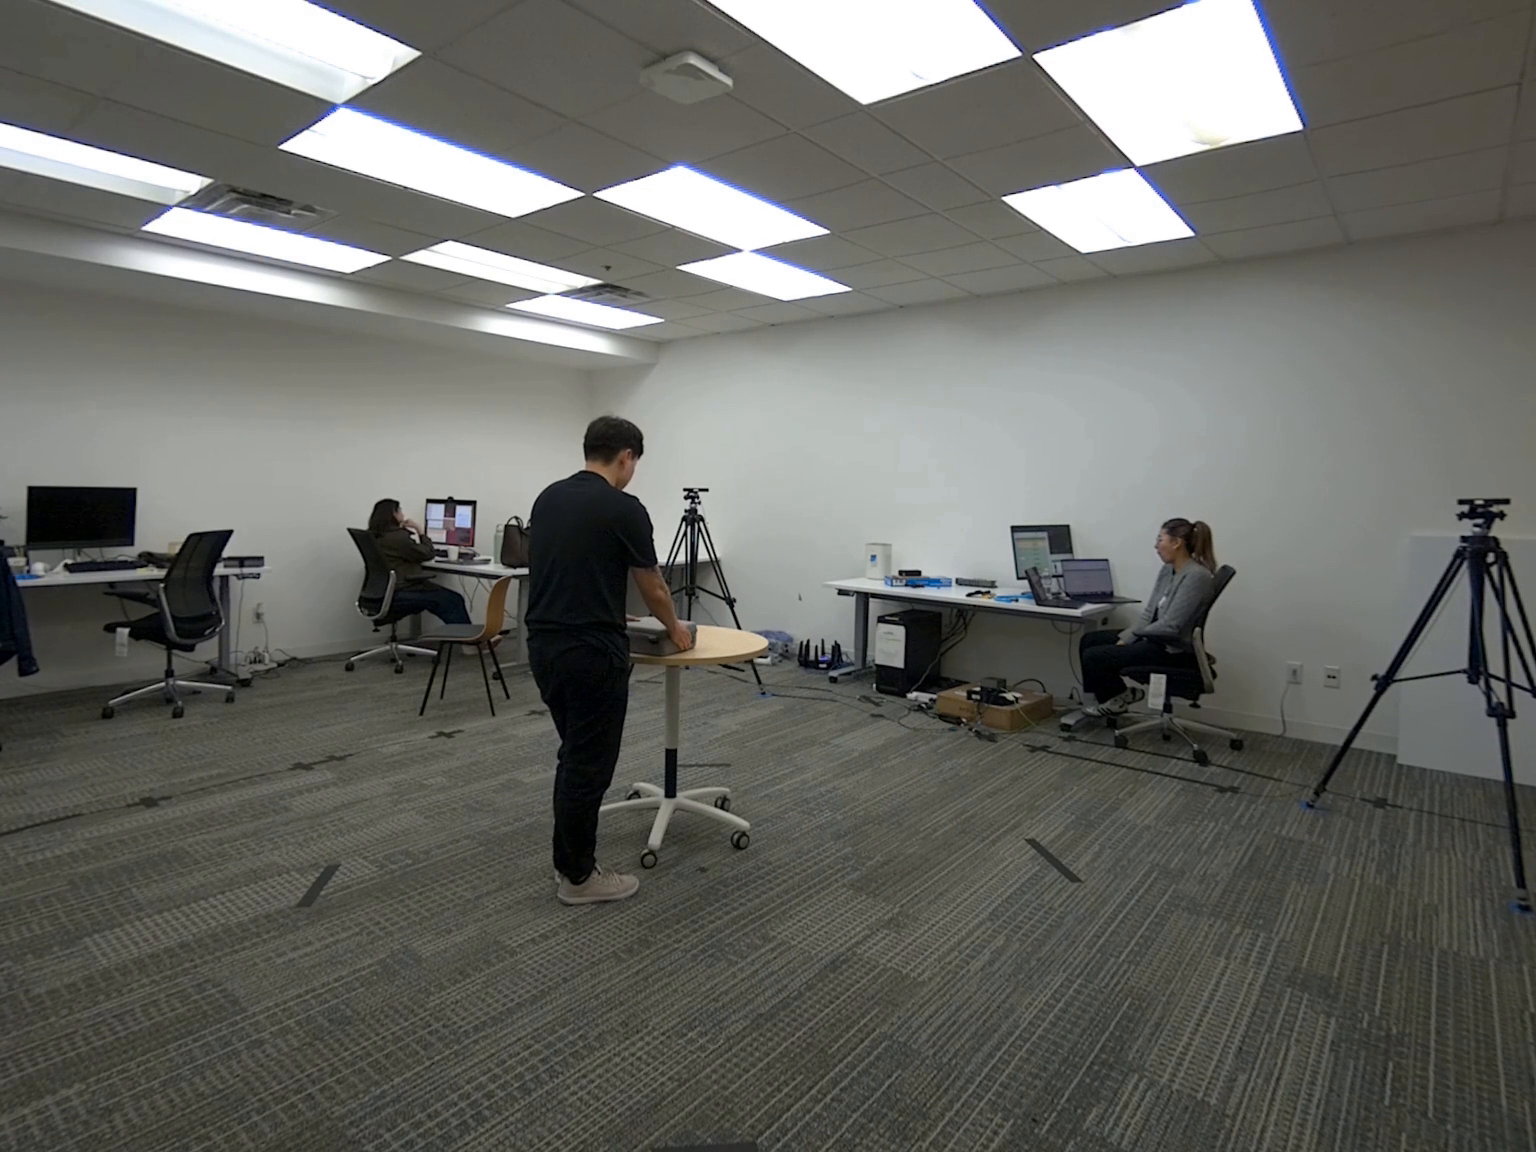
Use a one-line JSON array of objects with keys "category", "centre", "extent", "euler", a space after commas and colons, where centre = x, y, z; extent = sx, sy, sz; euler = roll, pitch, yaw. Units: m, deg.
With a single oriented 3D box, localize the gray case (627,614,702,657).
[{"category": "gray case", "centre": [-0.431, 0.221, 3.215], "extent": [0.264, 0.104, 0.255], "euler": [2, 6, 26]}]
